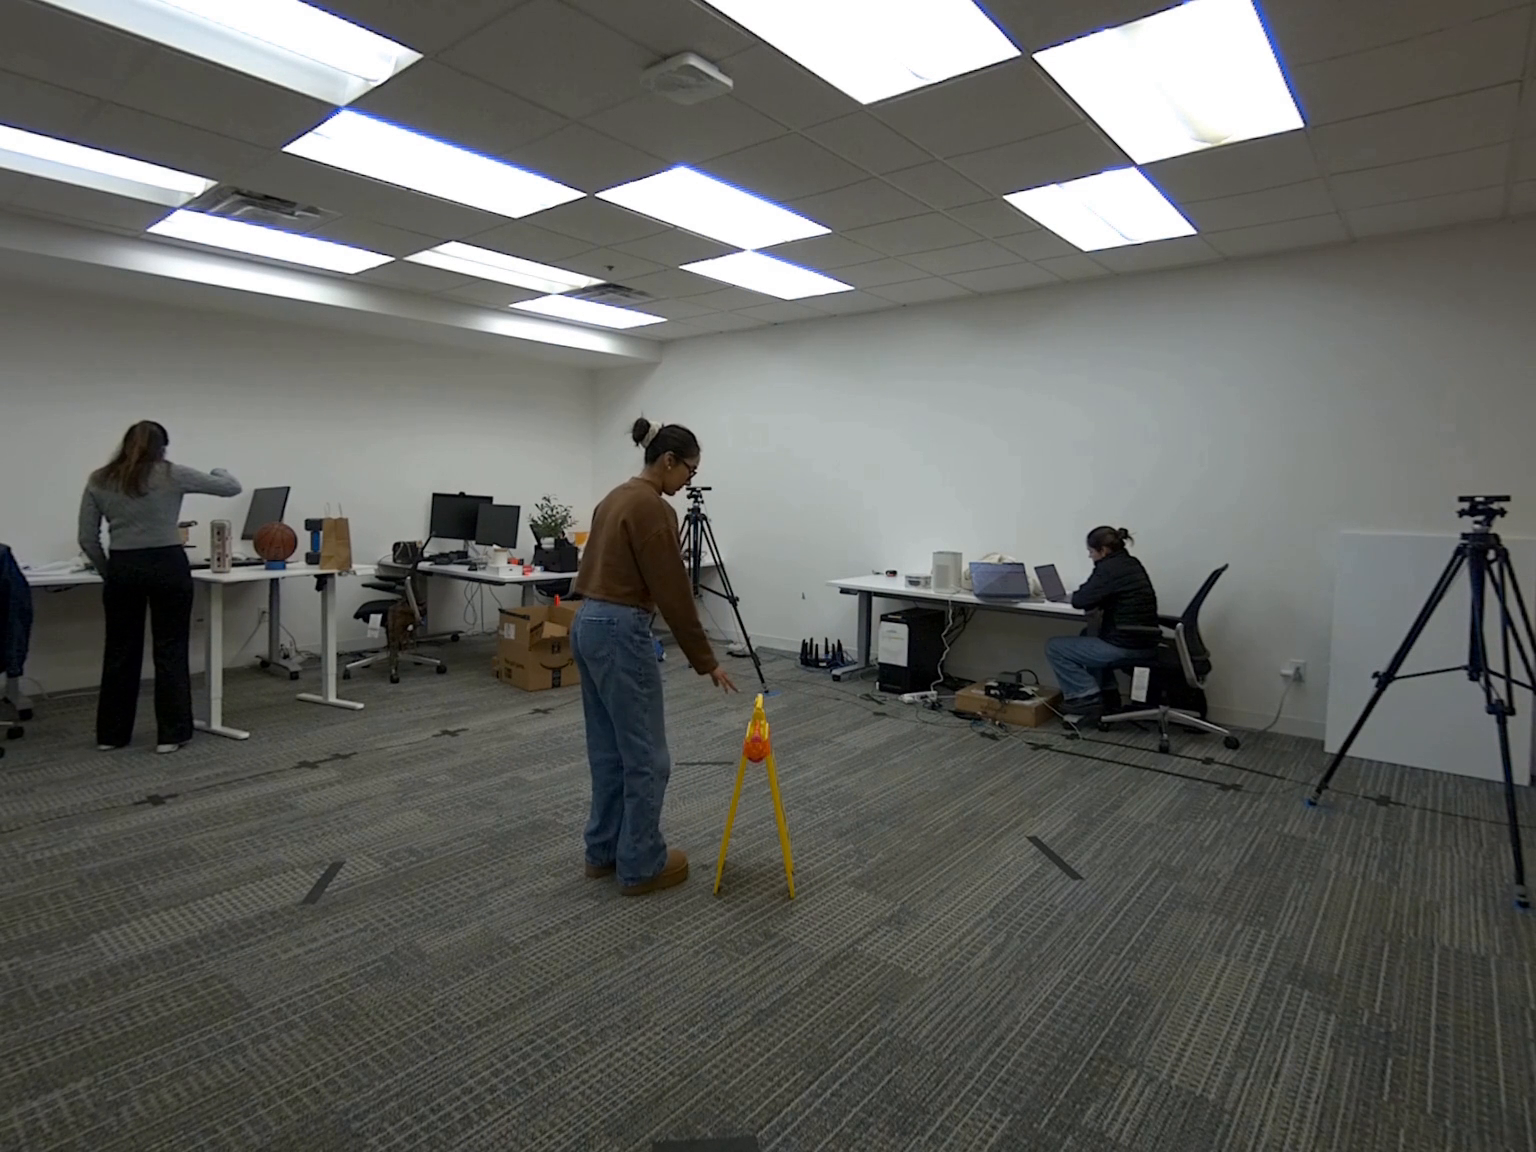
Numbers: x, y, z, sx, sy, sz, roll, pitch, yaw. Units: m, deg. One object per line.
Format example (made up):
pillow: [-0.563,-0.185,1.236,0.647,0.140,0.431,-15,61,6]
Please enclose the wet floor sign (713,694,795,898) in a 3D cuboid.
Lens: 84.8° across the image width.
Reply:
wet floor sign: [-0.048,0.763,3.018,0.291,0.644,0.282,2,4,2]
